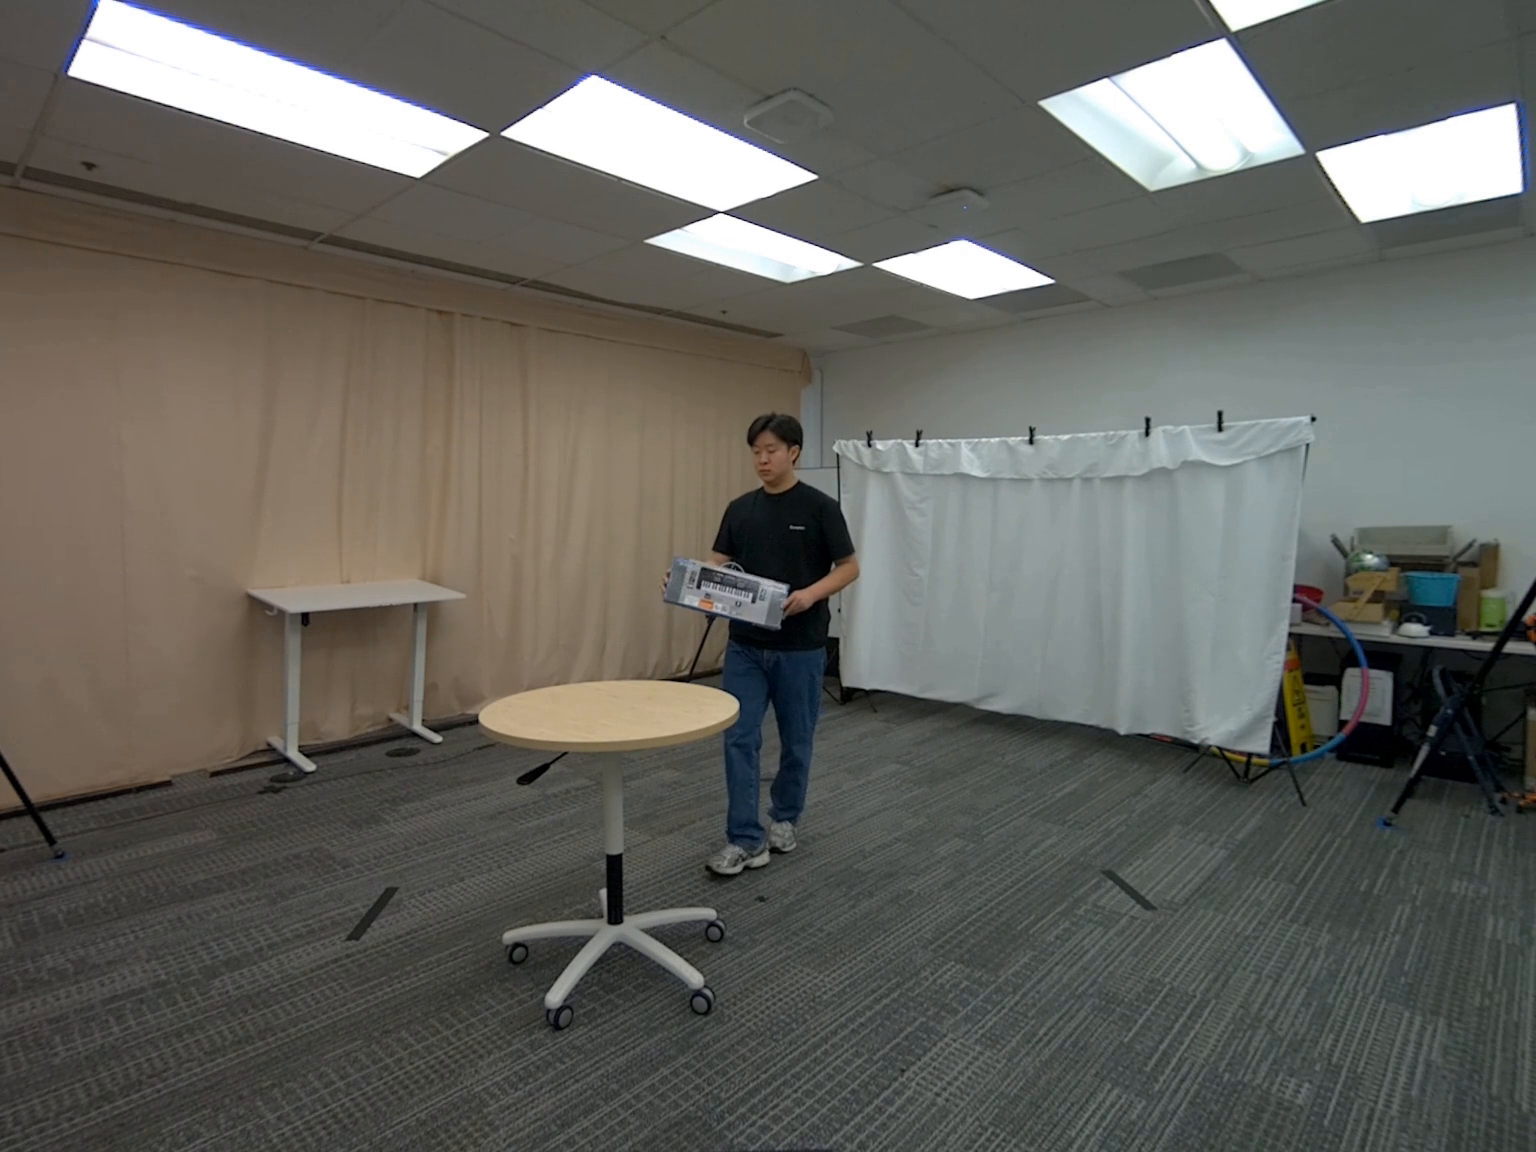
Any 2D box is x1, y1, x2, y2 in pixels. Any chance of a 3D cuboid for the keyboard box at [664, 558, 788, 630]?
[{"bbox_3d":[-0.153,0.065,3.103,0.437,0.177,0.059,15,-15,1],"label":"keyboard box"}]
